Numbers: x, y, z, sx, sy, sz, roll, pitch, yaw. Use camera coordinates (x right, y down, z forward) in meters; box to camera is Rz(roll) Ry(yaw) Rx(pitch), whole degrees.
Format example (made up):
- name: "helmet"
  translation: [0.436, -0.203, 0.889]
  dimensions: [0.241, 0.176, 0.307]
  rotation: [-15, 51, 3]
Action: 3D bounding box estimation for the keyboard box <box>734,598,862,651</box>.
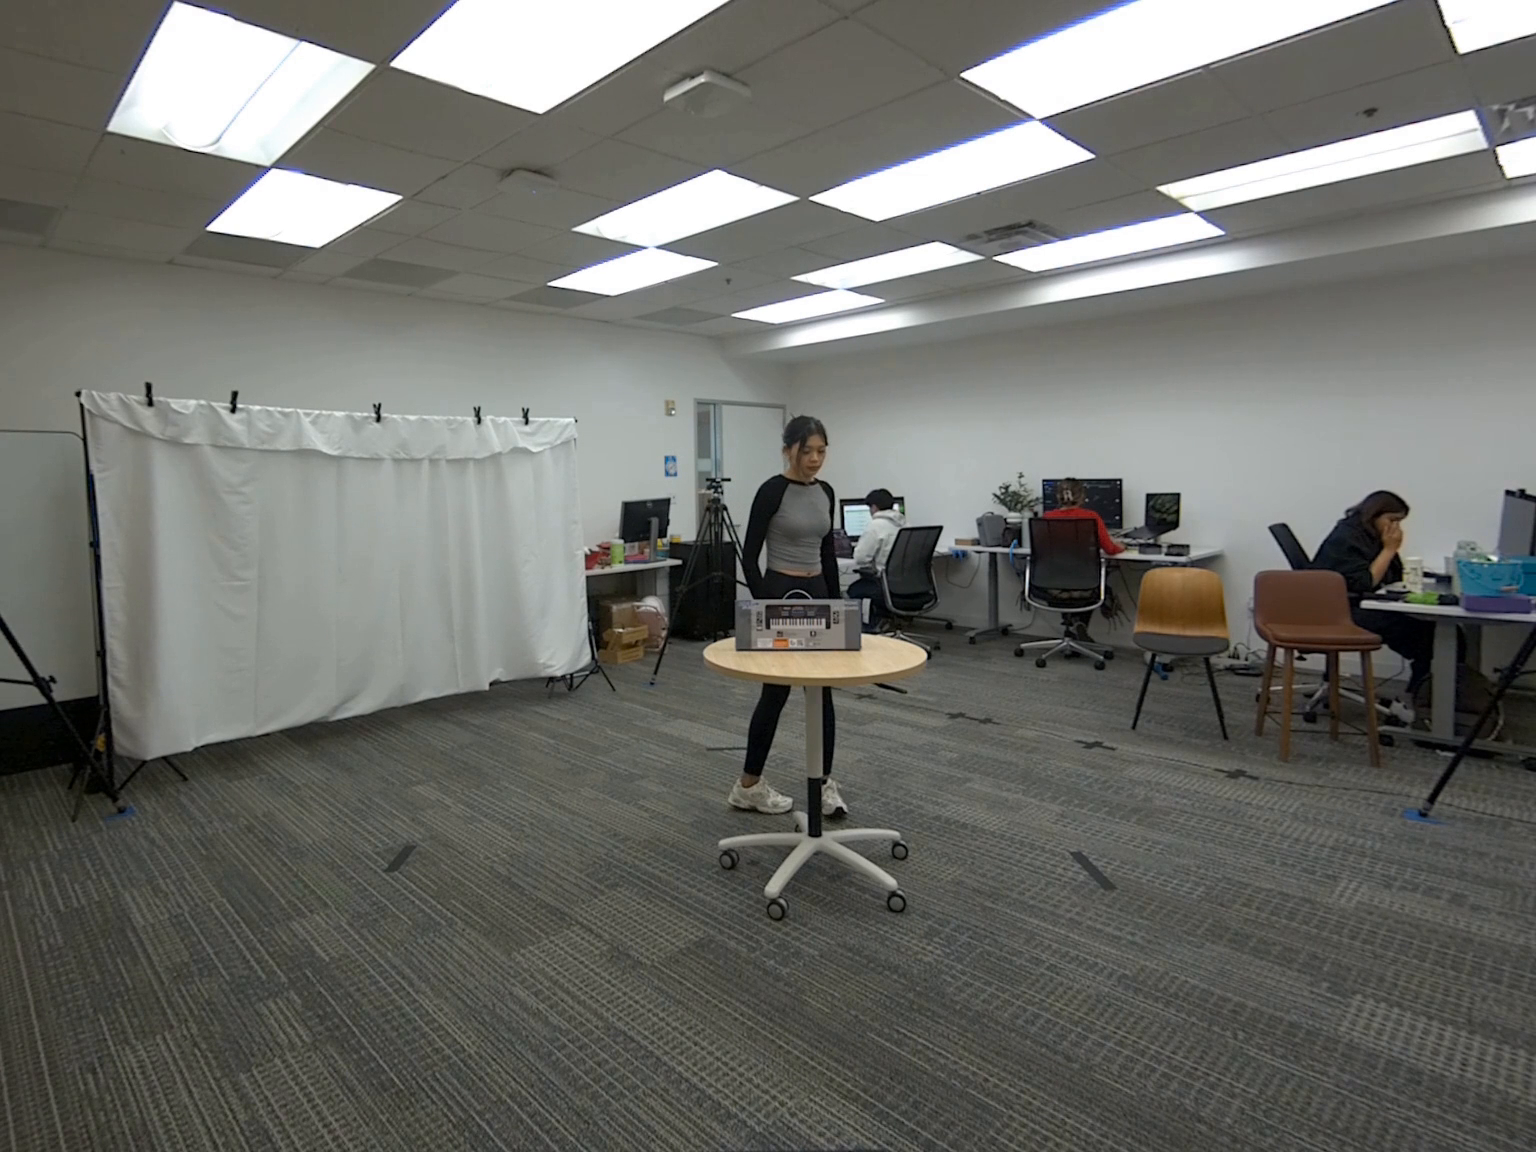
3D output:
- name: "keyboard box"
  translation: [0.104, 0.163, 2.994]
  dimensions: [0.438, 0.176, 0.059]
  rotation: [-1, 0, 2]
